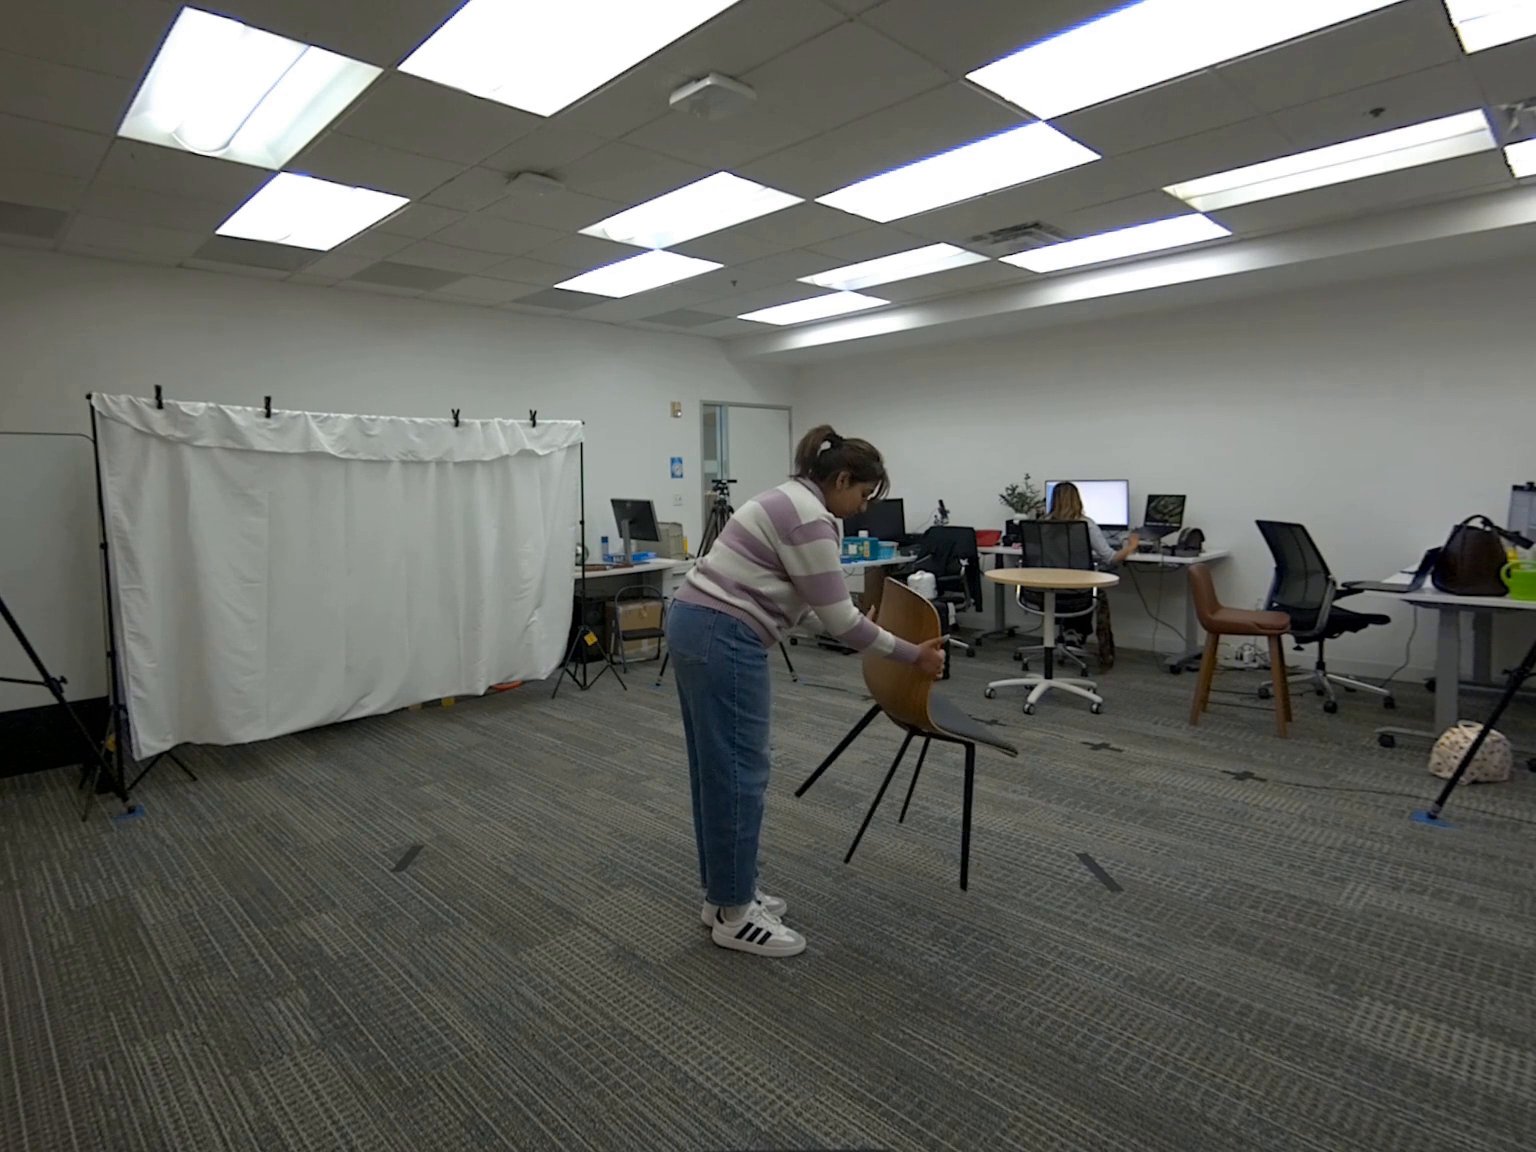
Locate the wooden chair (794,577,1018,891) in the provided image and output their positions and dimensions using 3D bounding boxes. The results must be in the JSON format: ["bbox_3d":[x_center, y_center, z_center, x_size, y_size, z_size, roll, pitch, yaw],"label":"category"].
[{"bbox_3d":[0.516,0.498,2.828,0.512,0.874,0.490,15,6,-19],"label":"wooden chair"}]
